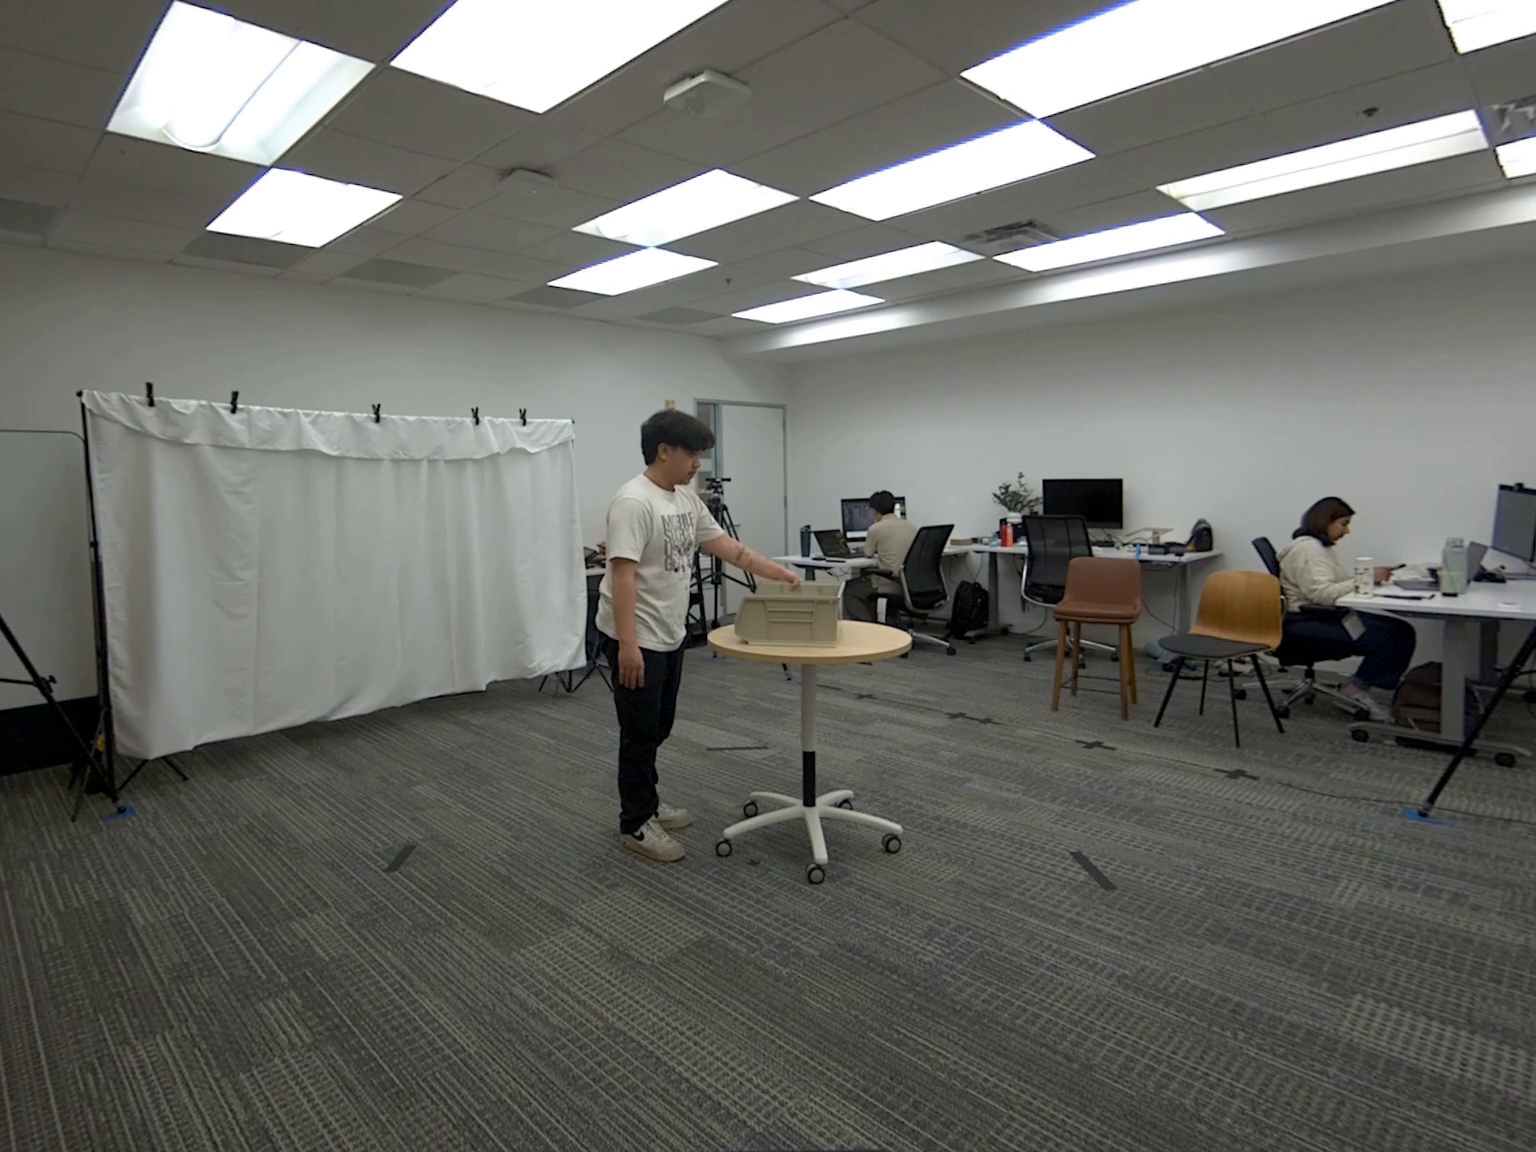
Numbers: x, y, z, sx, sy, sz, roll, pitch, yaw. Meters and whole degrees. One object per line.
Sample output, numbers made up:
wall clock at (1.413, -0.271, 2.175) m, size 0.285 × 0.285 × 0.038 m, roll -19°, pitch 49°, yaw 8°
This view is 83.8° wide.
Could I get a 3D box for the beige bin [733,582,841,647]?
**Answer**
beige bin at (0.083, 0.130, 3.230) m, size 0.381 × 0.188 × 0.420 m, roll 3°, pitch 6°, yaw 8°
